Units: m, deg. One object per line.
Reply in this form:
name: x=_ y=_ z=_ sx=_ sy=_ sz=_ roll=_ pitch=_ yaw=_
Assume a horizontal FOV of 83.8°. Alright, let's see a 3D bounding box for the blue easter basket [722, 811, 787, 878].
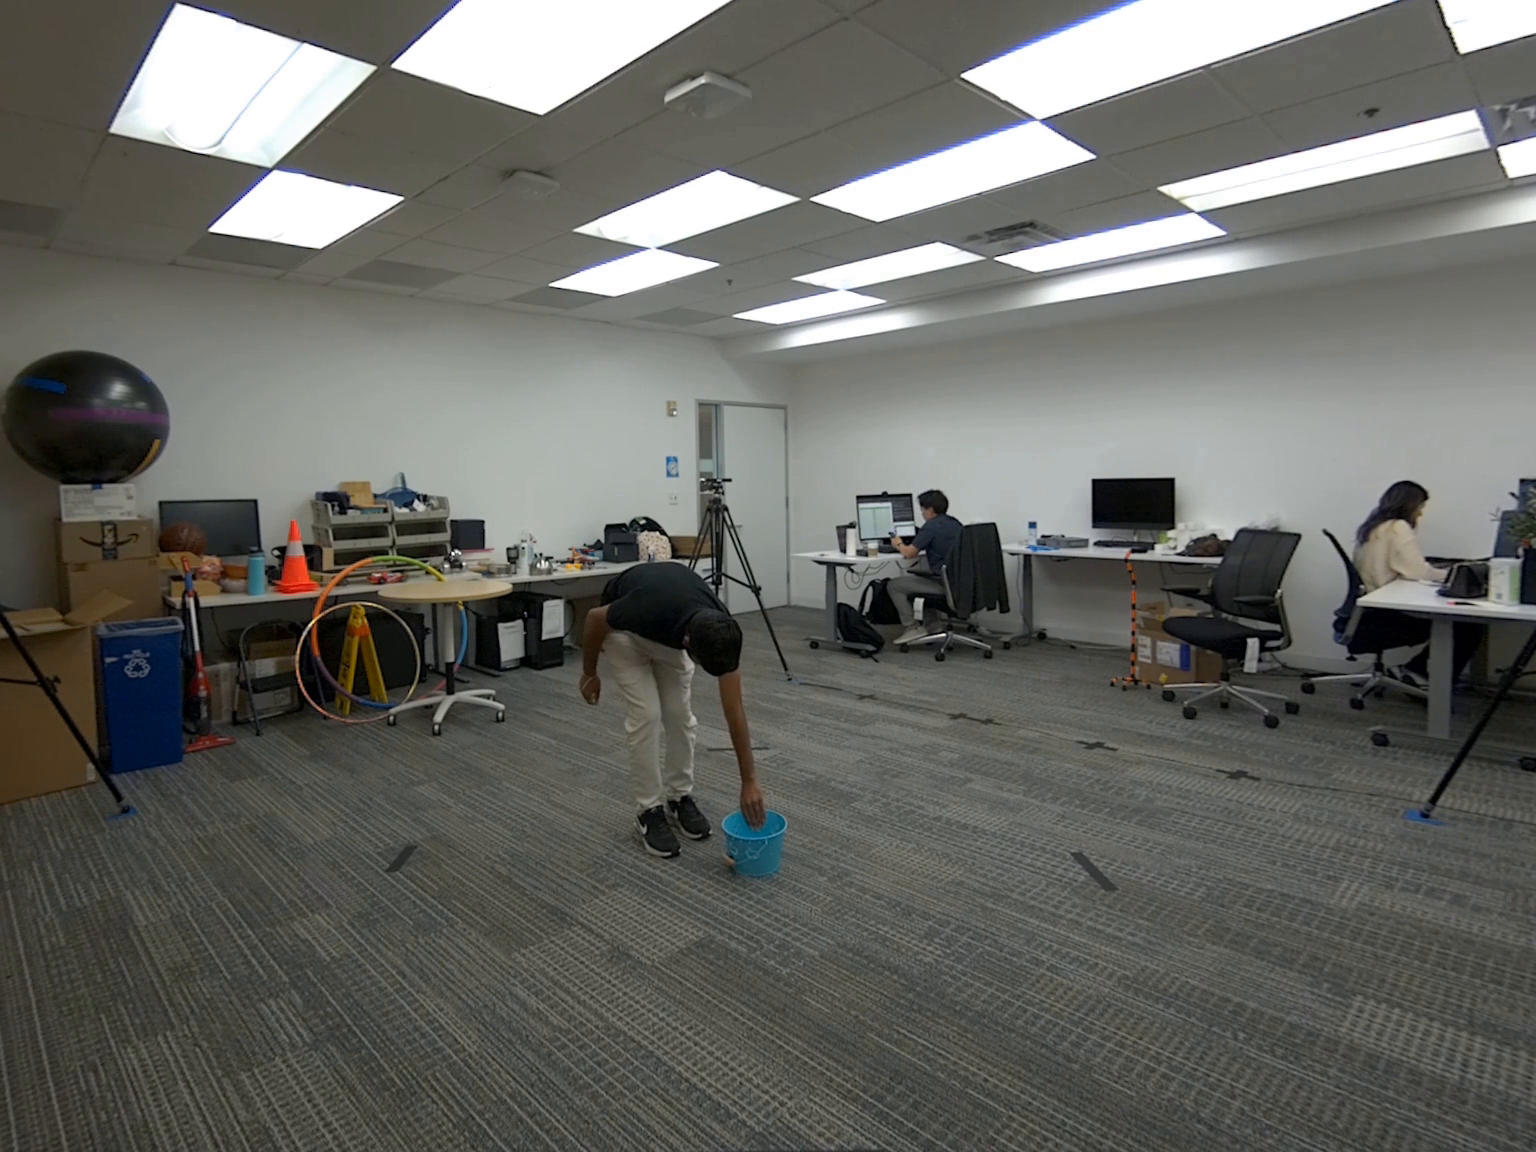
blue easter basket: x=-0.049 y=0.962 z=3.087 sx=0.243 sy=0.154 sz=0.246 roll=-1 pitch=10 yaw=-1
